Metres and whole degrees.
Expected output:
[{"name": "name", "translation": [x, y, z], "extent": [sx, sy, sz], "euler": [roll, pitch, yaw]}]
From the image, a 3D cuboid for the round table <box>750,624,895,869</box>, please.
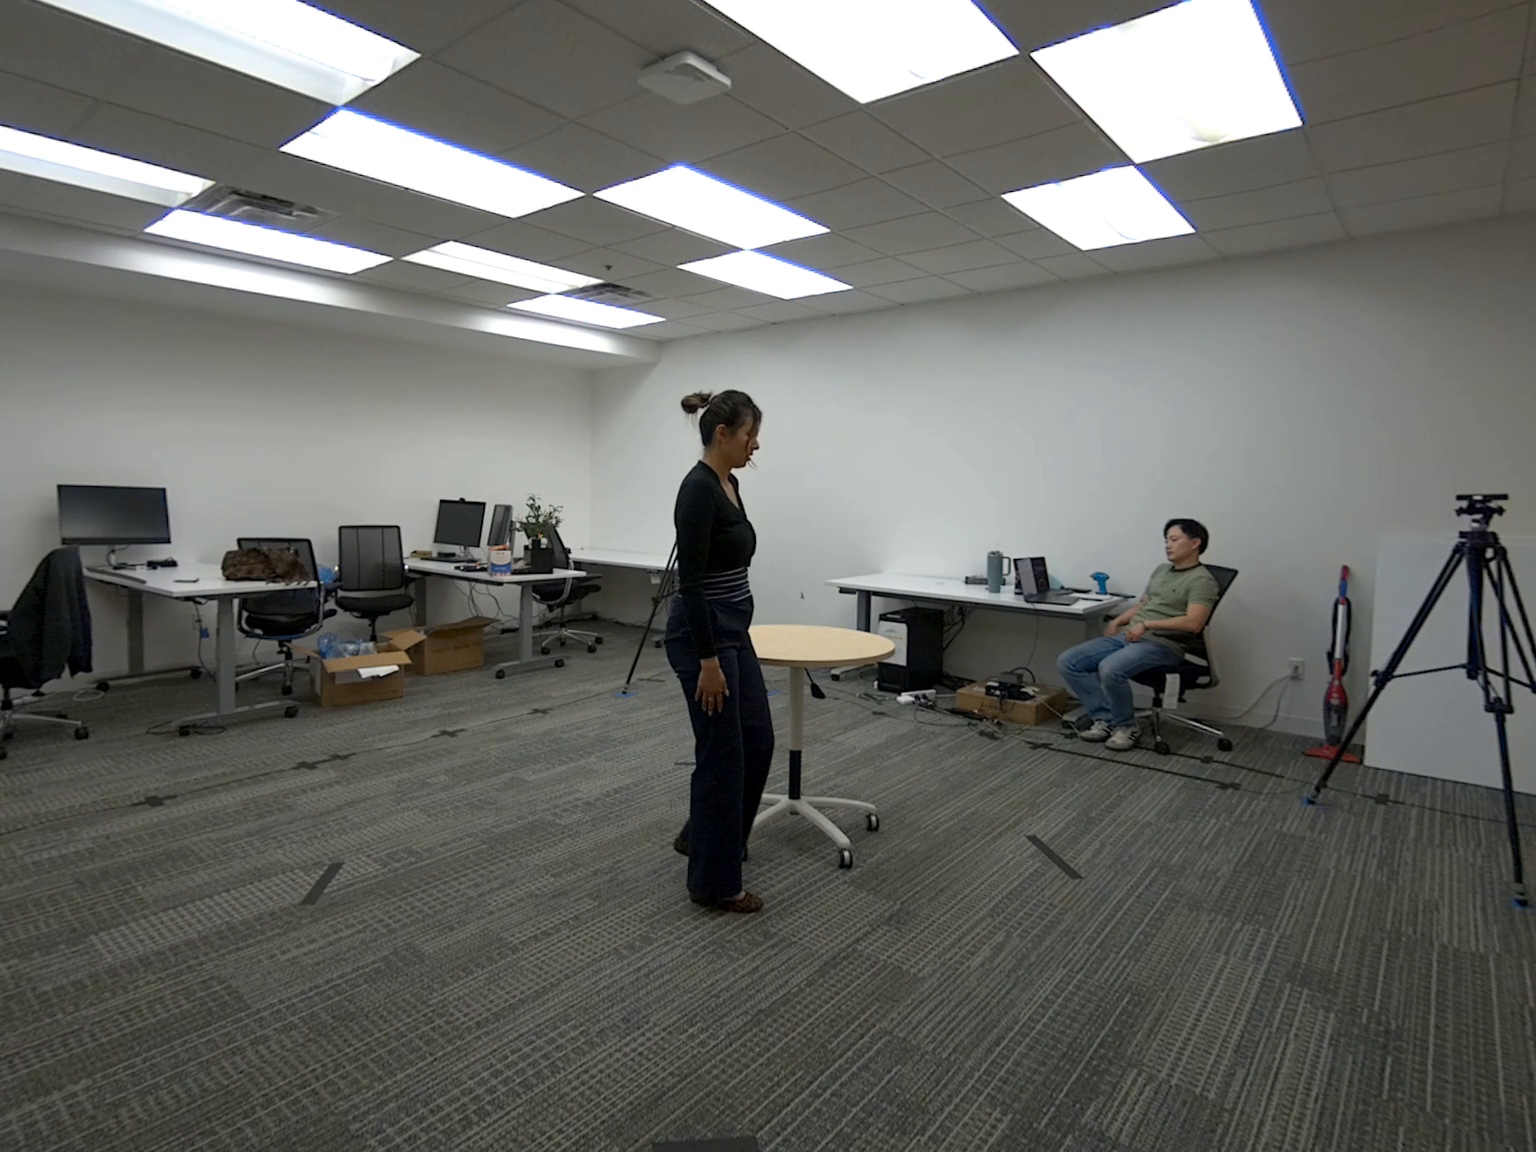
[{"name": "round table", "translation": [0.110, 0.651, 3.432], "extent": [0.763, 0.791, 0.768], "euler": [1, 4, -2]}]
